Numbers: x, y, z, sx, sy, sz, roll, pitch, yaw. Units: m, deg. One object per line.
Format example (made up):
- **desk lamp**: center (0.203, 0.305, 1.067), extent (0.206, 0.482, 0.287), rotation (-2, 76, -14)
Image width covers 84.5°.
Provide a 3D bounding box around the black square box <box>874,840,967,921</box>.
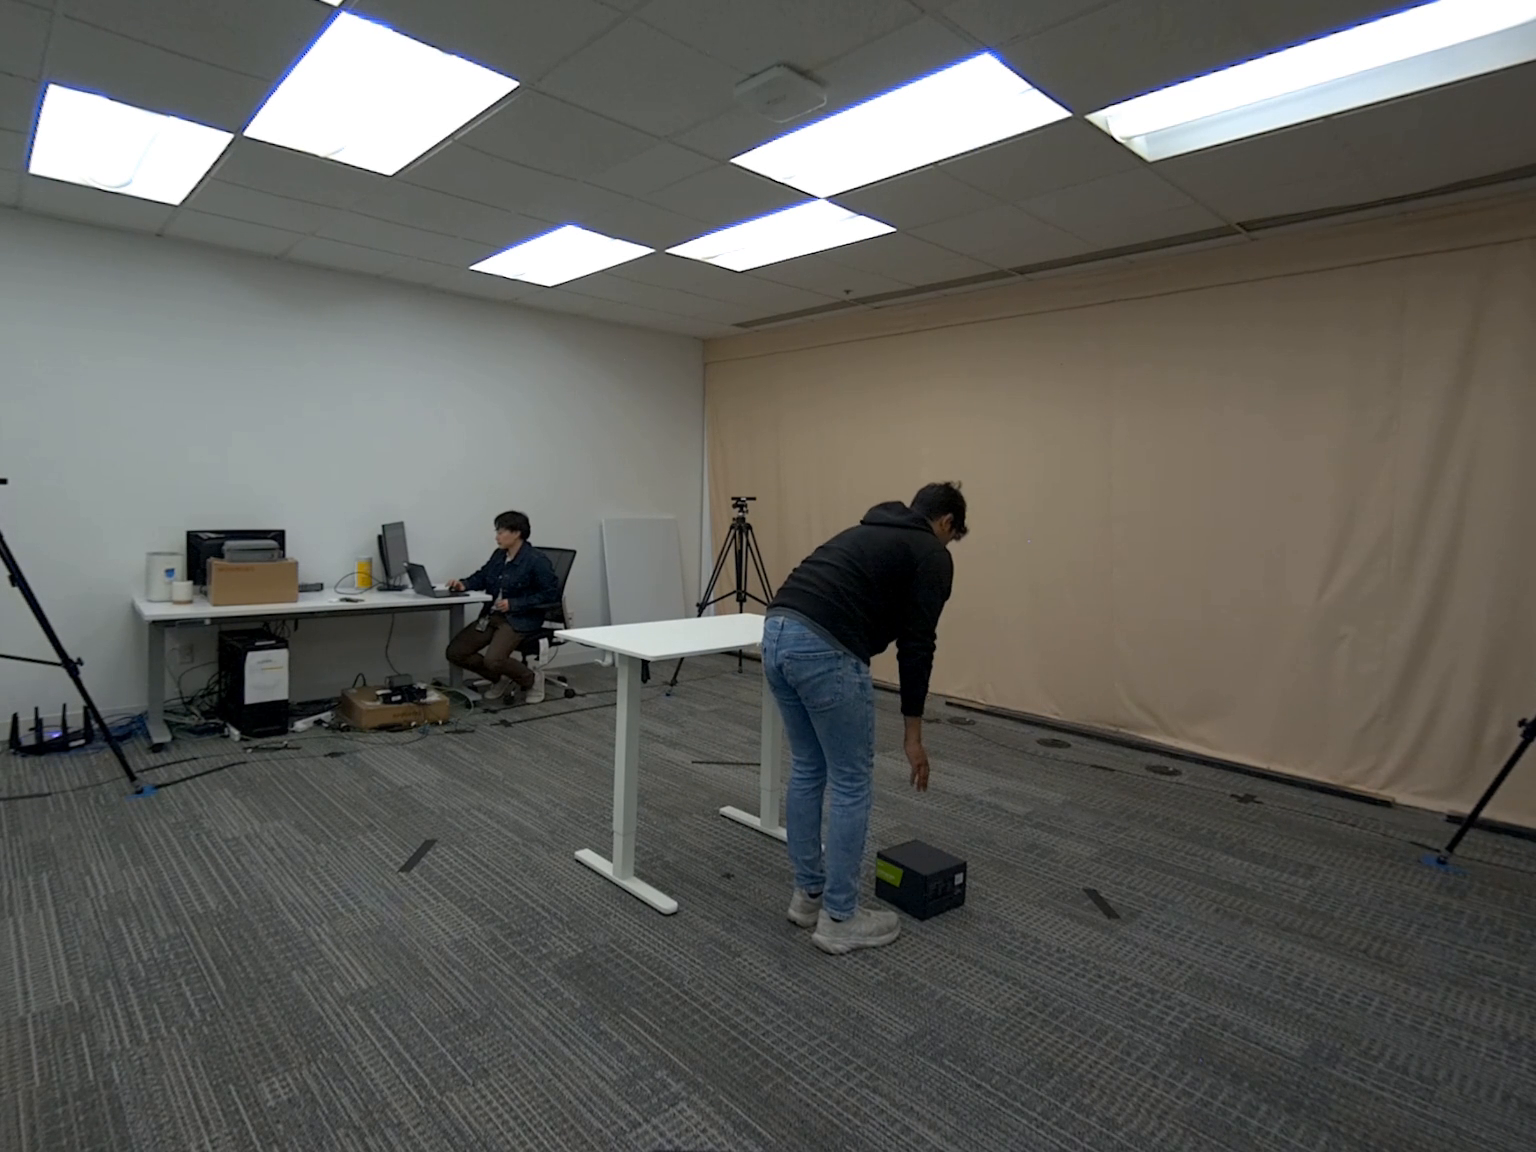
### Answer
- **black square box**: center (0.525, 1.054, 2.947), extent (0.212, 0.155, 0.234), rotation (-2, 5, -38)
